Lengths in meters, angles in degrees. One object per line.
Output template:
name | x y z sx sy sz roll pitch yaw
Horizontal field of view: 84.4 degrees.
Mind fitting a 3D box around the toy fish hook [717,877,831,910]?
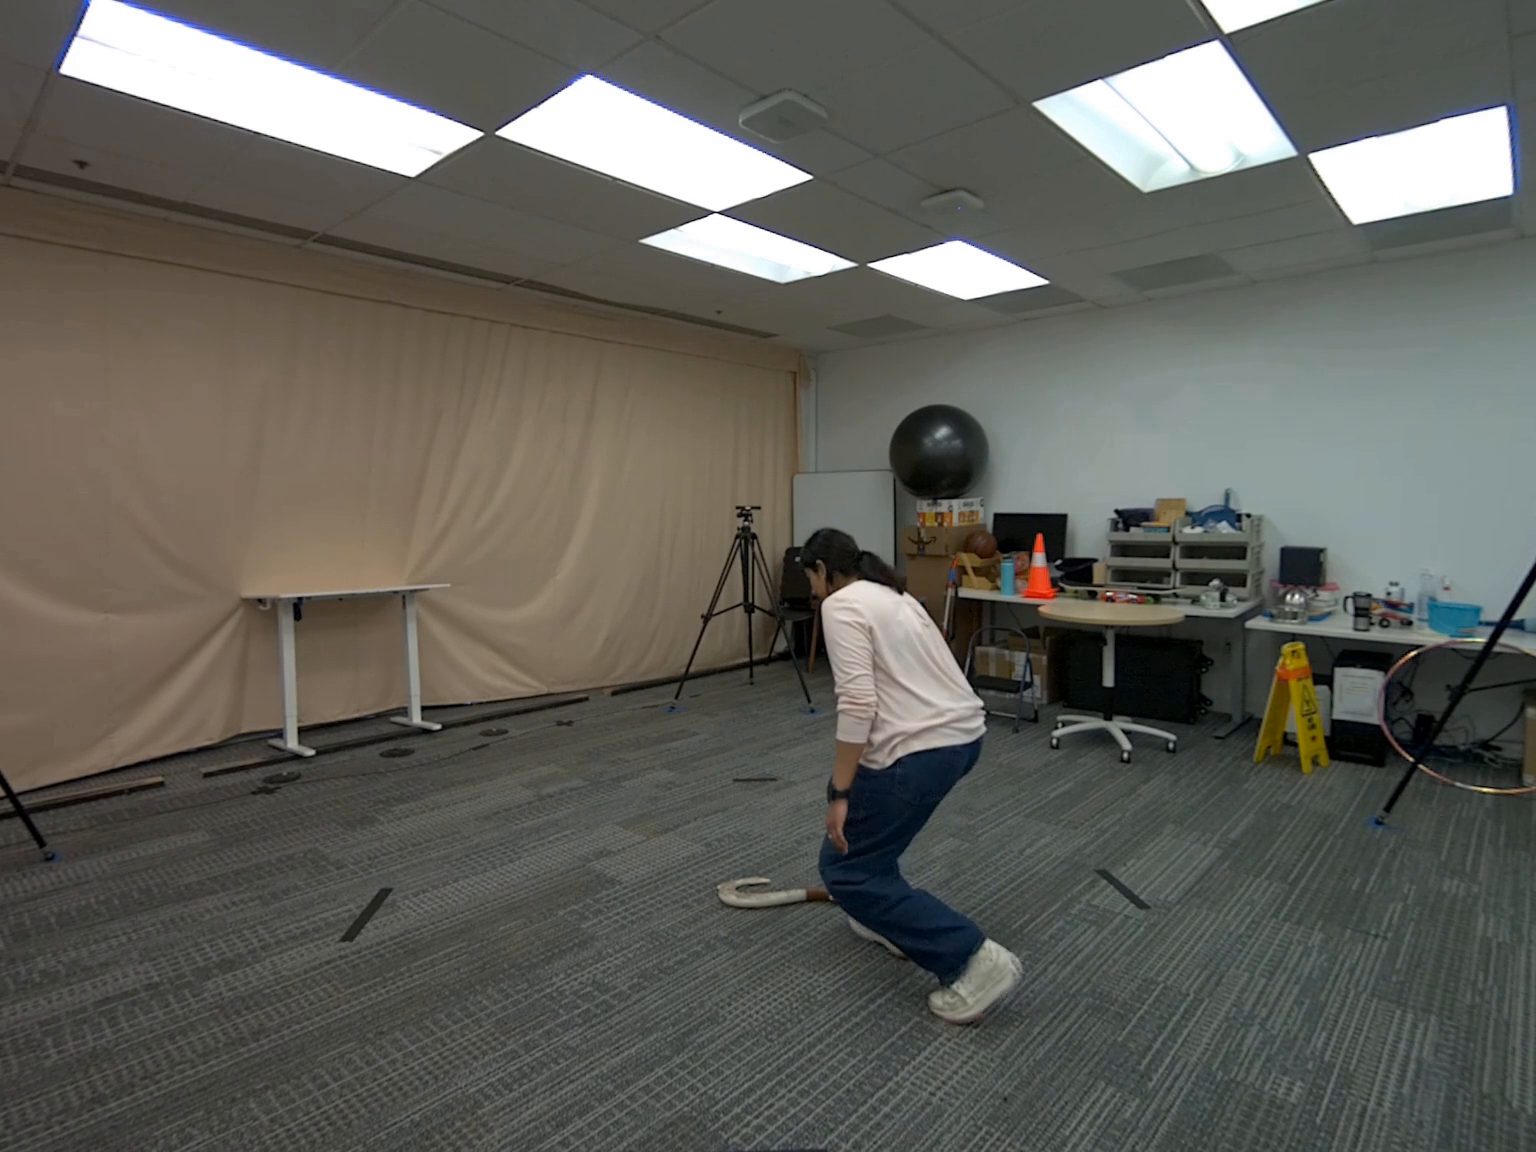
toy fish hook | 0.078 1.119 3.010 0.505 0.048 0.226 0 5 -4
